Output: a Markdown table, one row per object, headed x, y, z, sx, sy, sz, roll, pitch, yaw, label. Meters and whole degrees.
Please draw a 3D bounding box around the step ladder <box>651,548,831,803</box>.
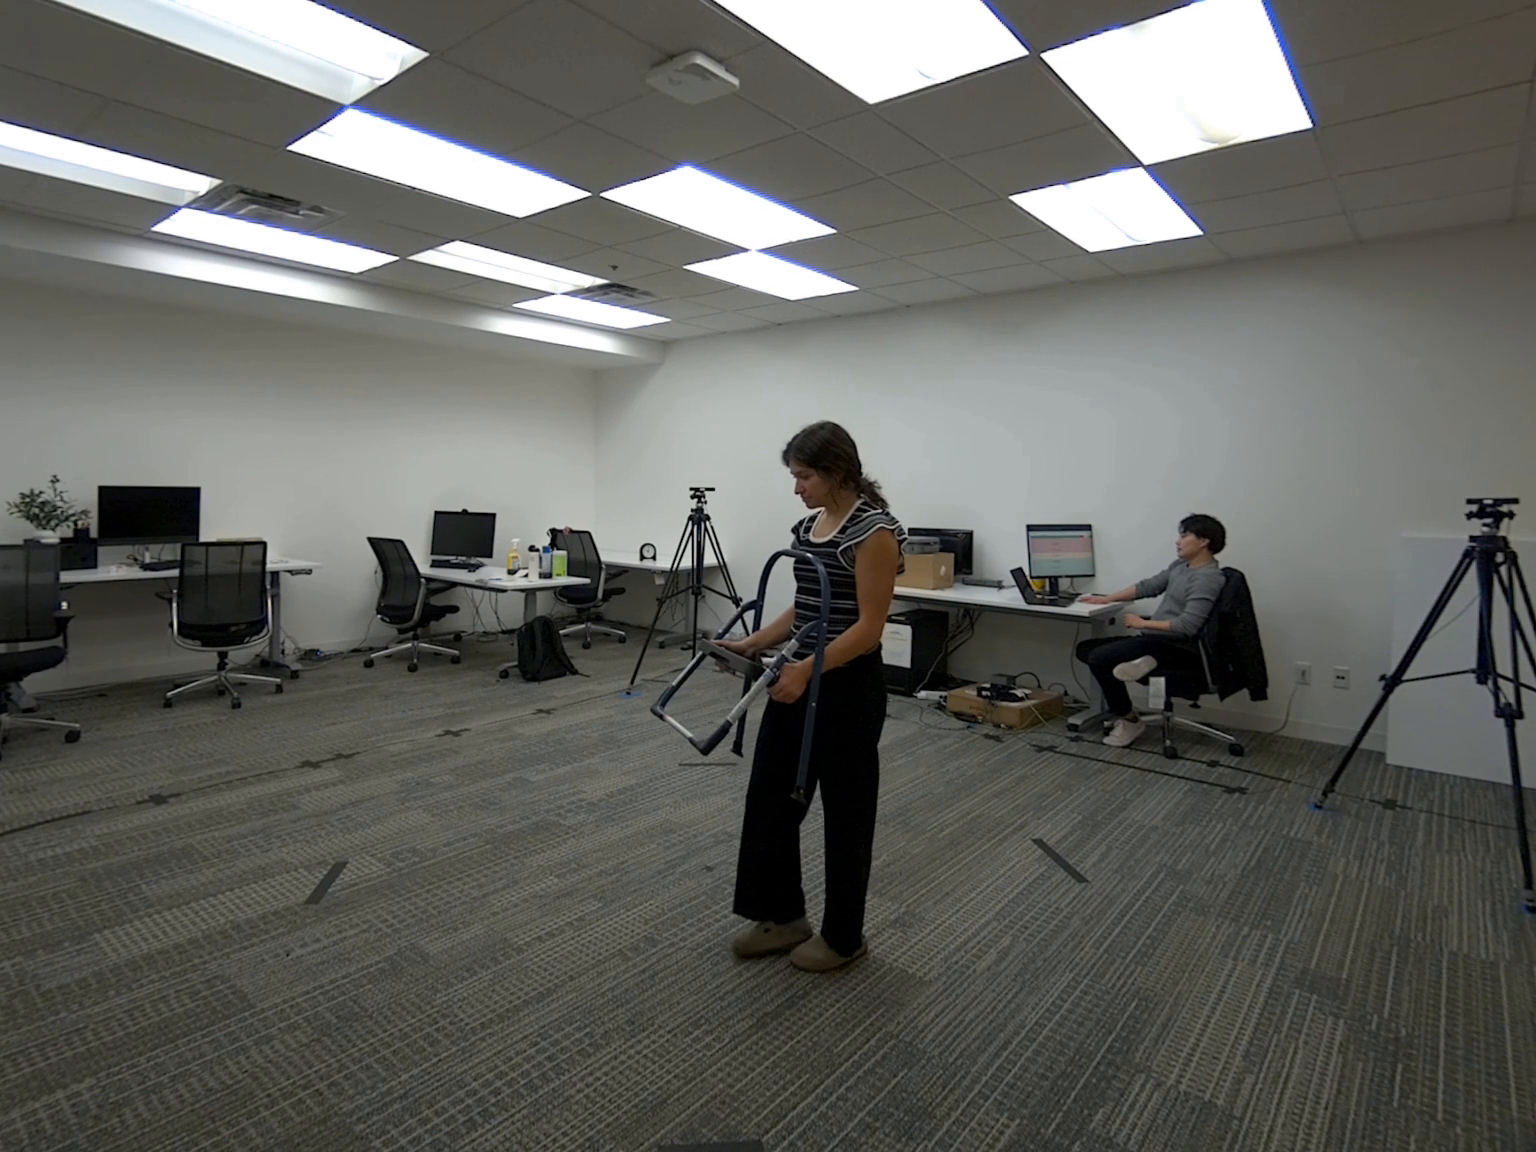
| x | y | z | sx | sy | sz | roll | pitch | yaw | label |
| --- | --- | --- | --- | --- | --- | --- | --- | --- | --- |
| -0.004 | 0.229 | 2.421 | 0.338 | 0.608 | 0.443 | 31 | -10 | -25 | step ladder |
